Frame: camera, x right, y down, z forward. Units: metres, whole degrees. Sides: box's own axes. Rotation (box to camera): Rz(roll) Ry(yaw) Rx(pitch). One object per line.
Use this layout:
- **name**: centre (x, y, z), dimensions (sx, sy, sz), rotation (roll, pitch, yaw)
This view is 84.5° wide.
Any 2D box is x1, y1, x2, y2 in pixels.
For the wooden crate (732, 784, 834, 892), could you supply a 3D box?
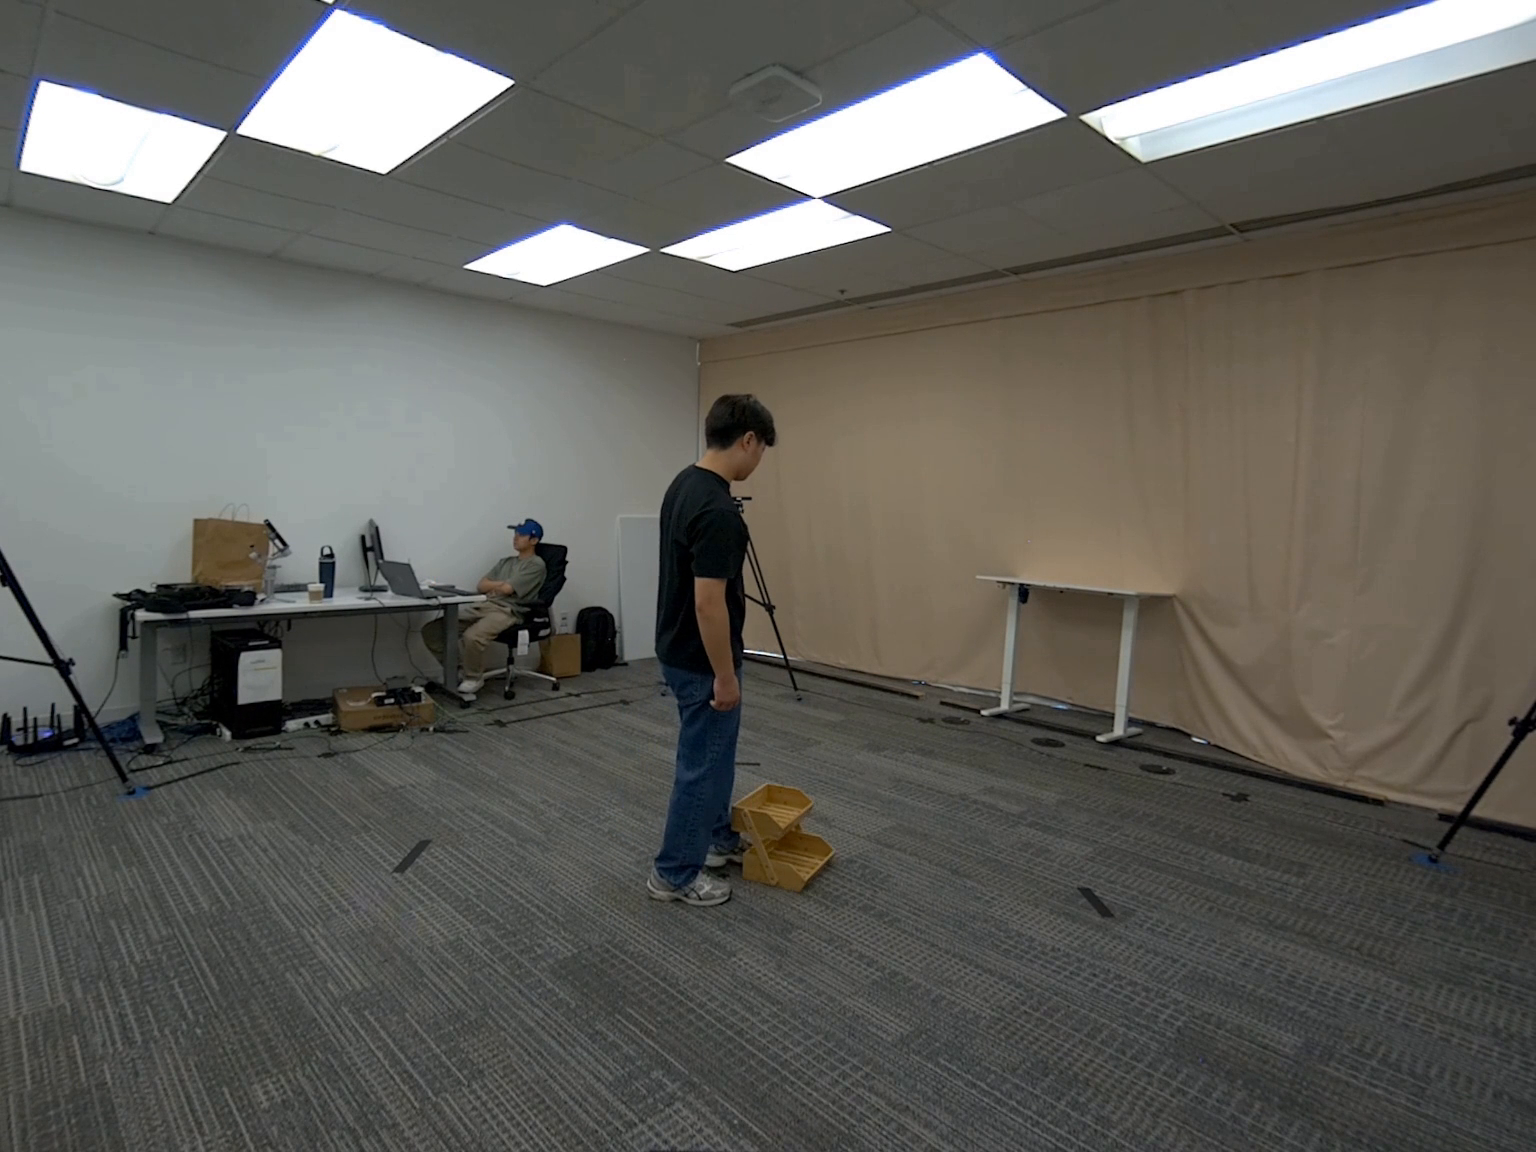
- **wooden crate**: centre (0.063, 0.974, 3.170), dimensions (0.308, 0.272, 0.319), rotation (3, 5, 26)
